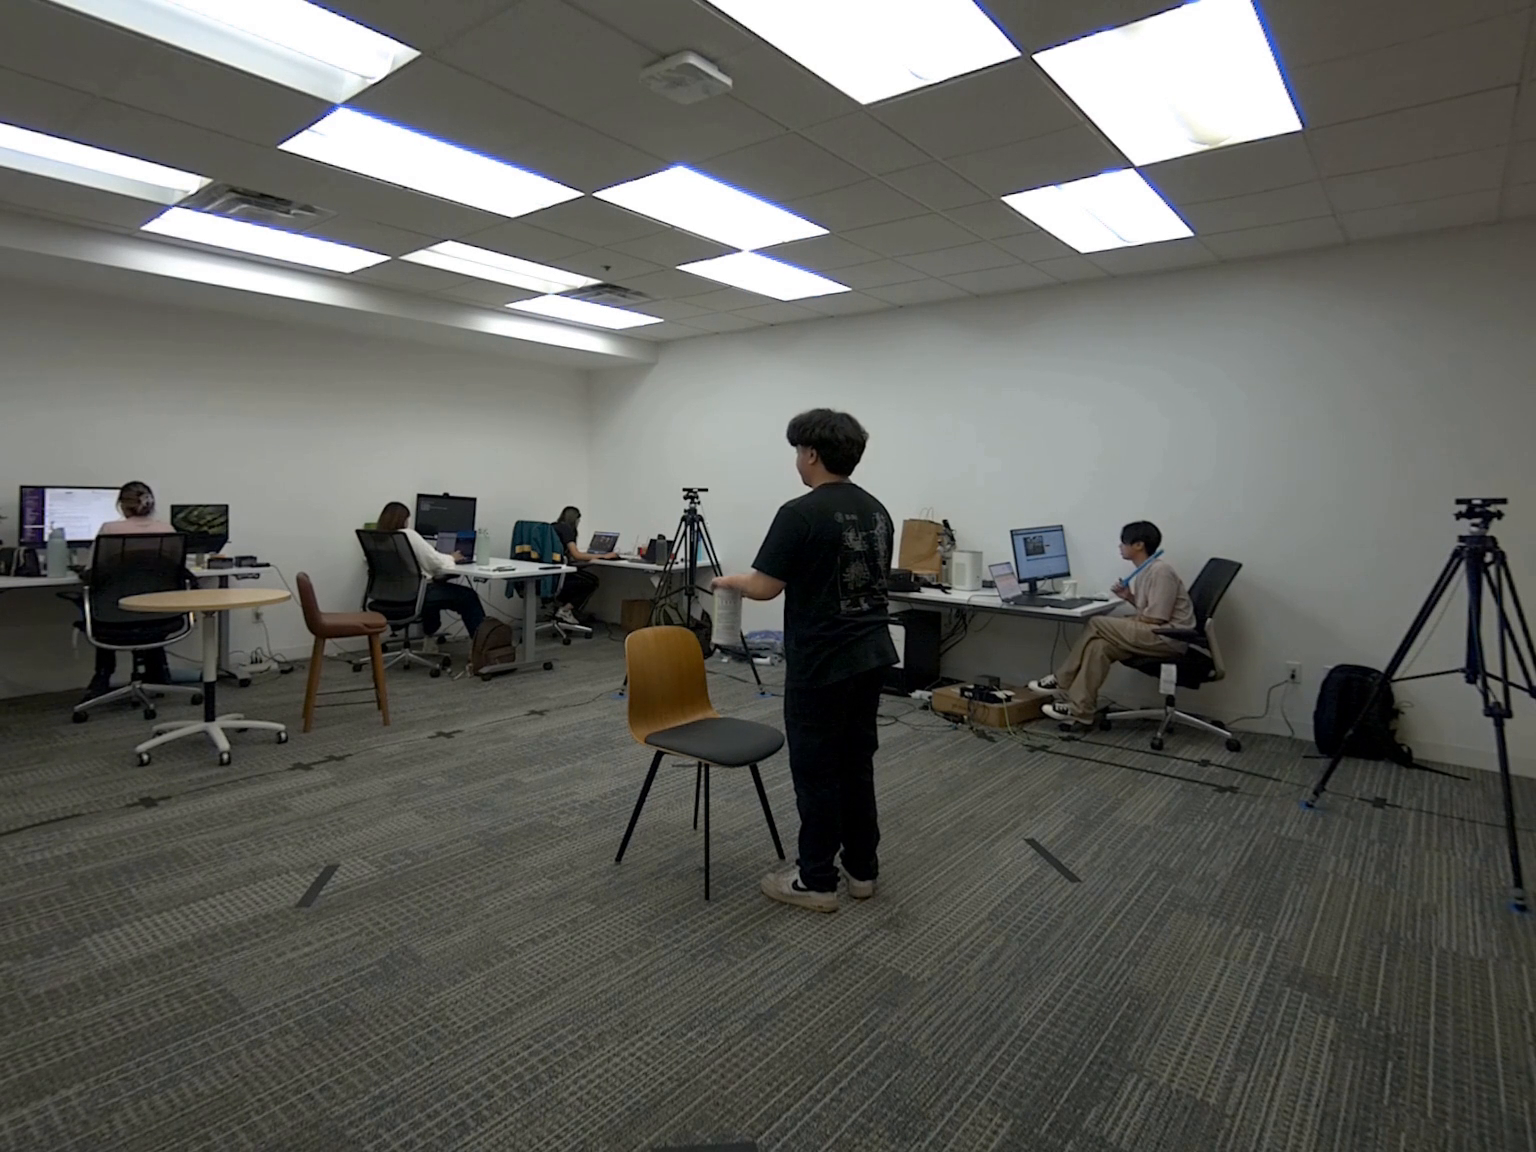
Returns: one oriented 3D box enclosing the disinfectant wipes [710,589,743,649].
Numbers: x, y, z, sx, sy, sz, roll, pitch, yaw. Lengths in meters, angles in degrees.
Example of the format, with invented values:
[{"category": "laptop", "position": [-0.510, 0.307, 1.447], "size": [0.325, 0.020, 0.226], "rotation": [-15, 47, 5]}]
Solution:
[{"category": "disinfectant wipes", "position": [-0.161, 0.139, 3.129], "size": [0.117, 0.216, 0.118], "rotation": [3, 5, -2]}]
